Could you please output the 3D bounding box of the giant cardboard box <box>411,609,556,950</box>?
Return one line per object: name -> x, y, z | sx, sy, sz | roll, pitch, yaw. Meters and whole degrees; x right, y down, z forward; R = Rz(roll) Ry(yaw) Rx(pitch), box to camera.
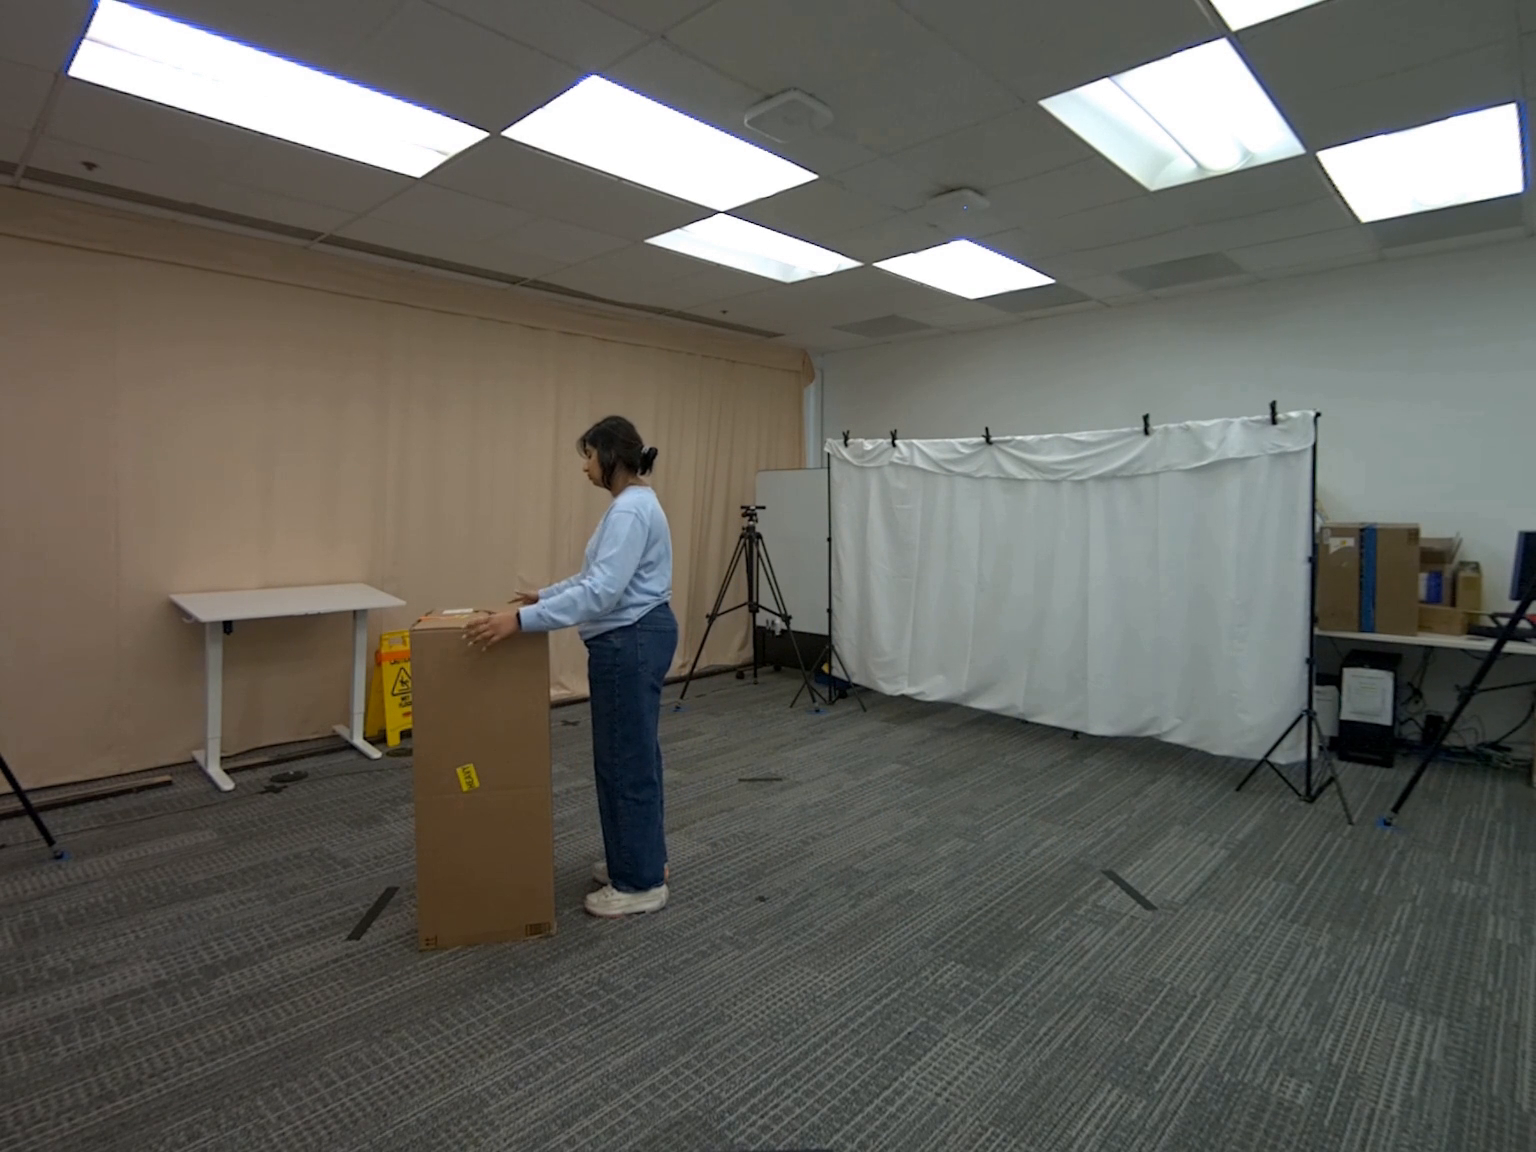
giant cardboard box -> -0.979, 0.648, 2.948 | 0.420, 1.024, 0.587 | -1, 3, -14
